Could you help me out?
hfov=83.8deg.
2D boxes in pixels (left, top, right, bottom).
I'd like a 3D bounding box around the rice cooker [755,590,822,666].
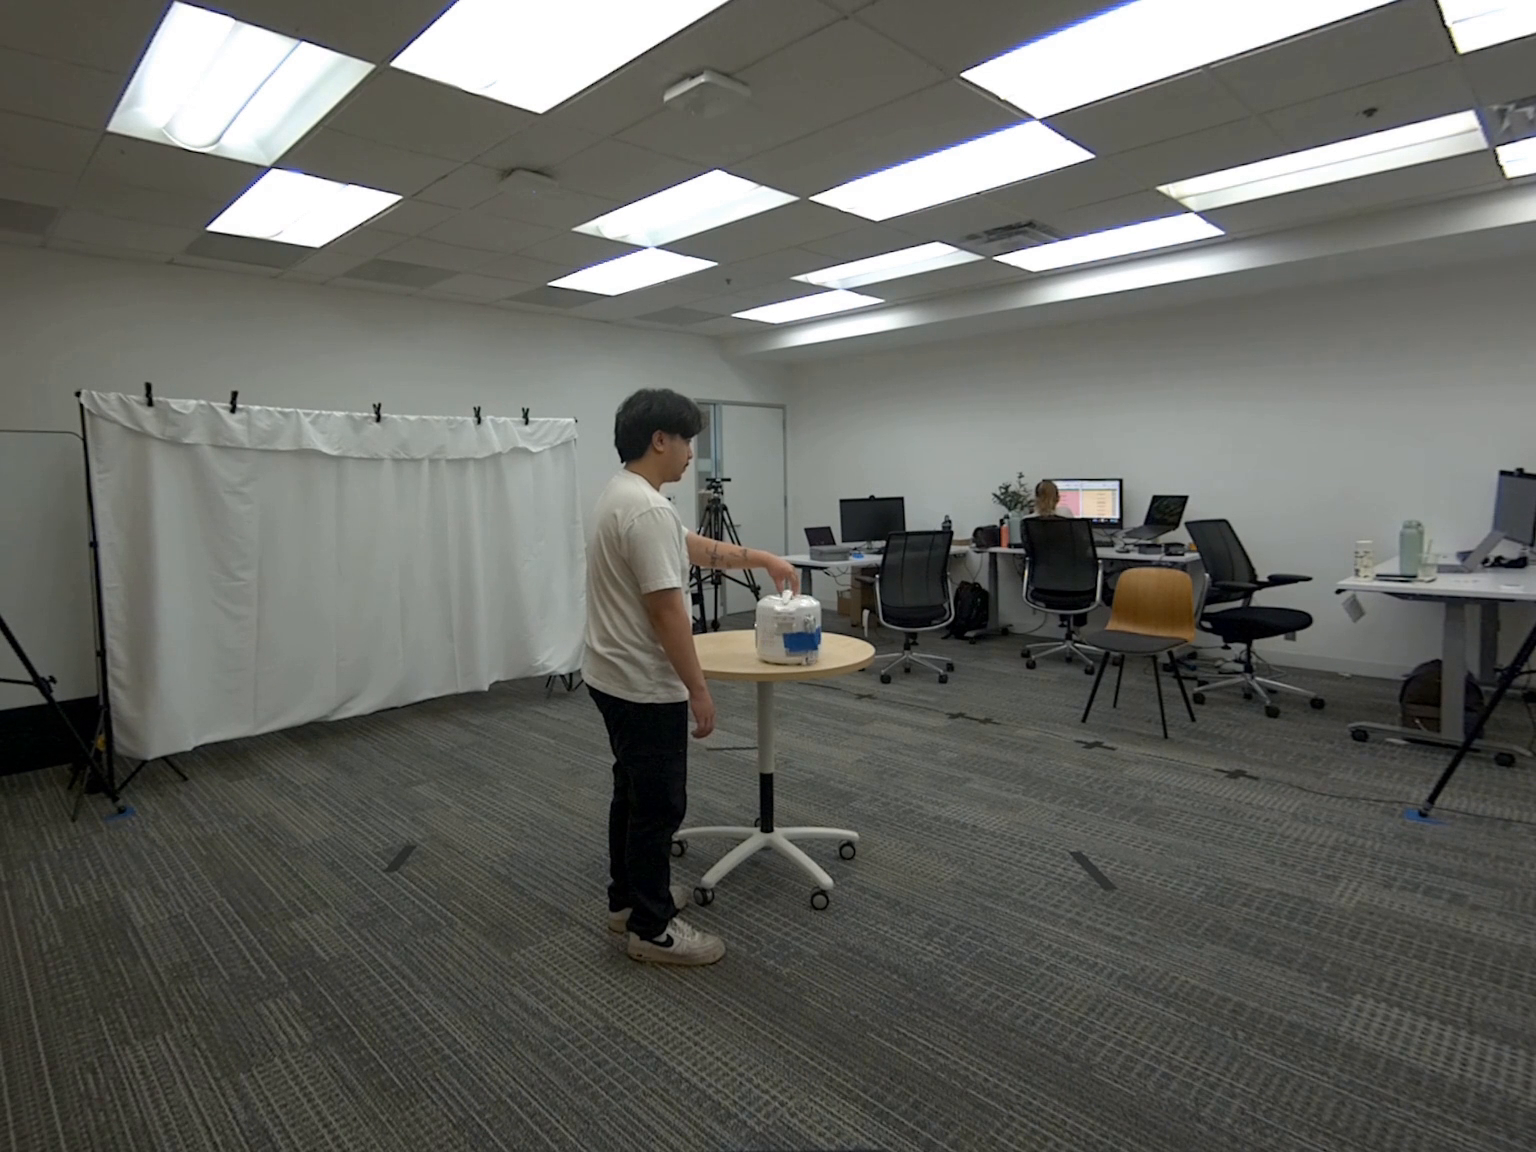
[{"bbox_3d":[0.068,0.160,2.798,0.220,0.232,0.219,0,4,10],"label":"rice cooker"}]
